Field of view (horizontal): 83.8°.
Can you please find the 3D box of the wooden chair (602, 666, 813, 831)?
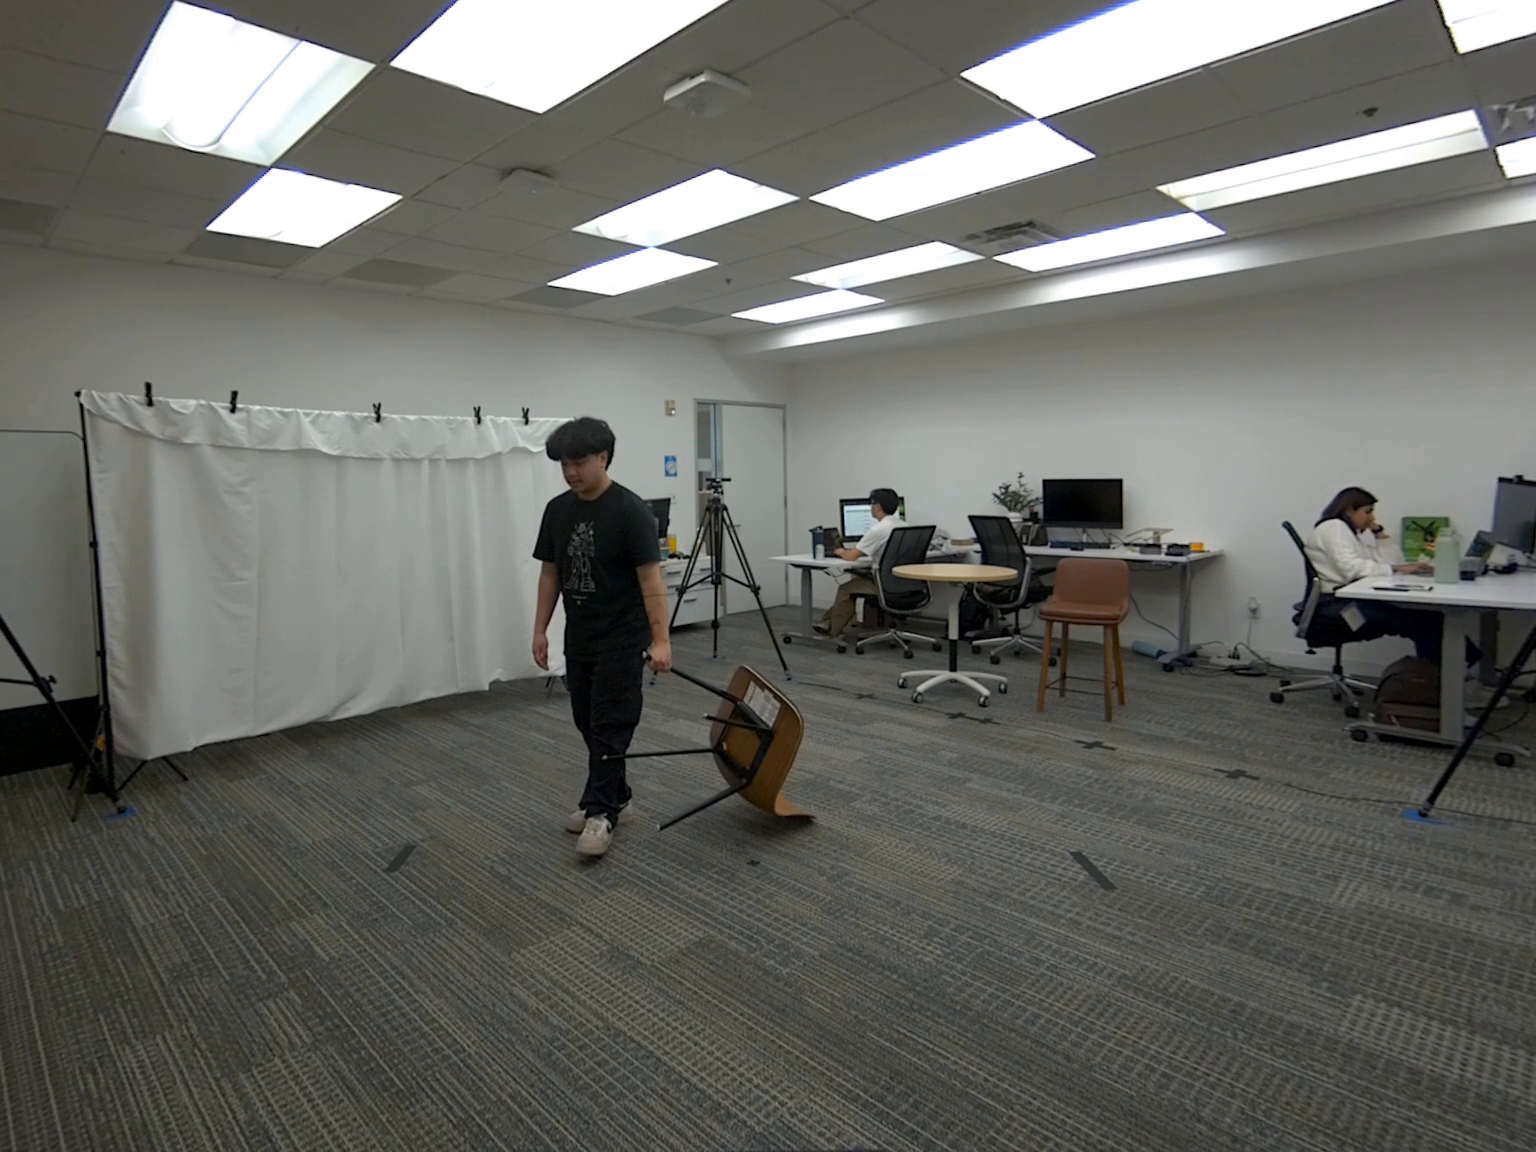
[{"bbox_3d":[-0.103,0.642,3.309,0.846,0.521,0.497,18,11,-40],"label":"wooden chair"}]
